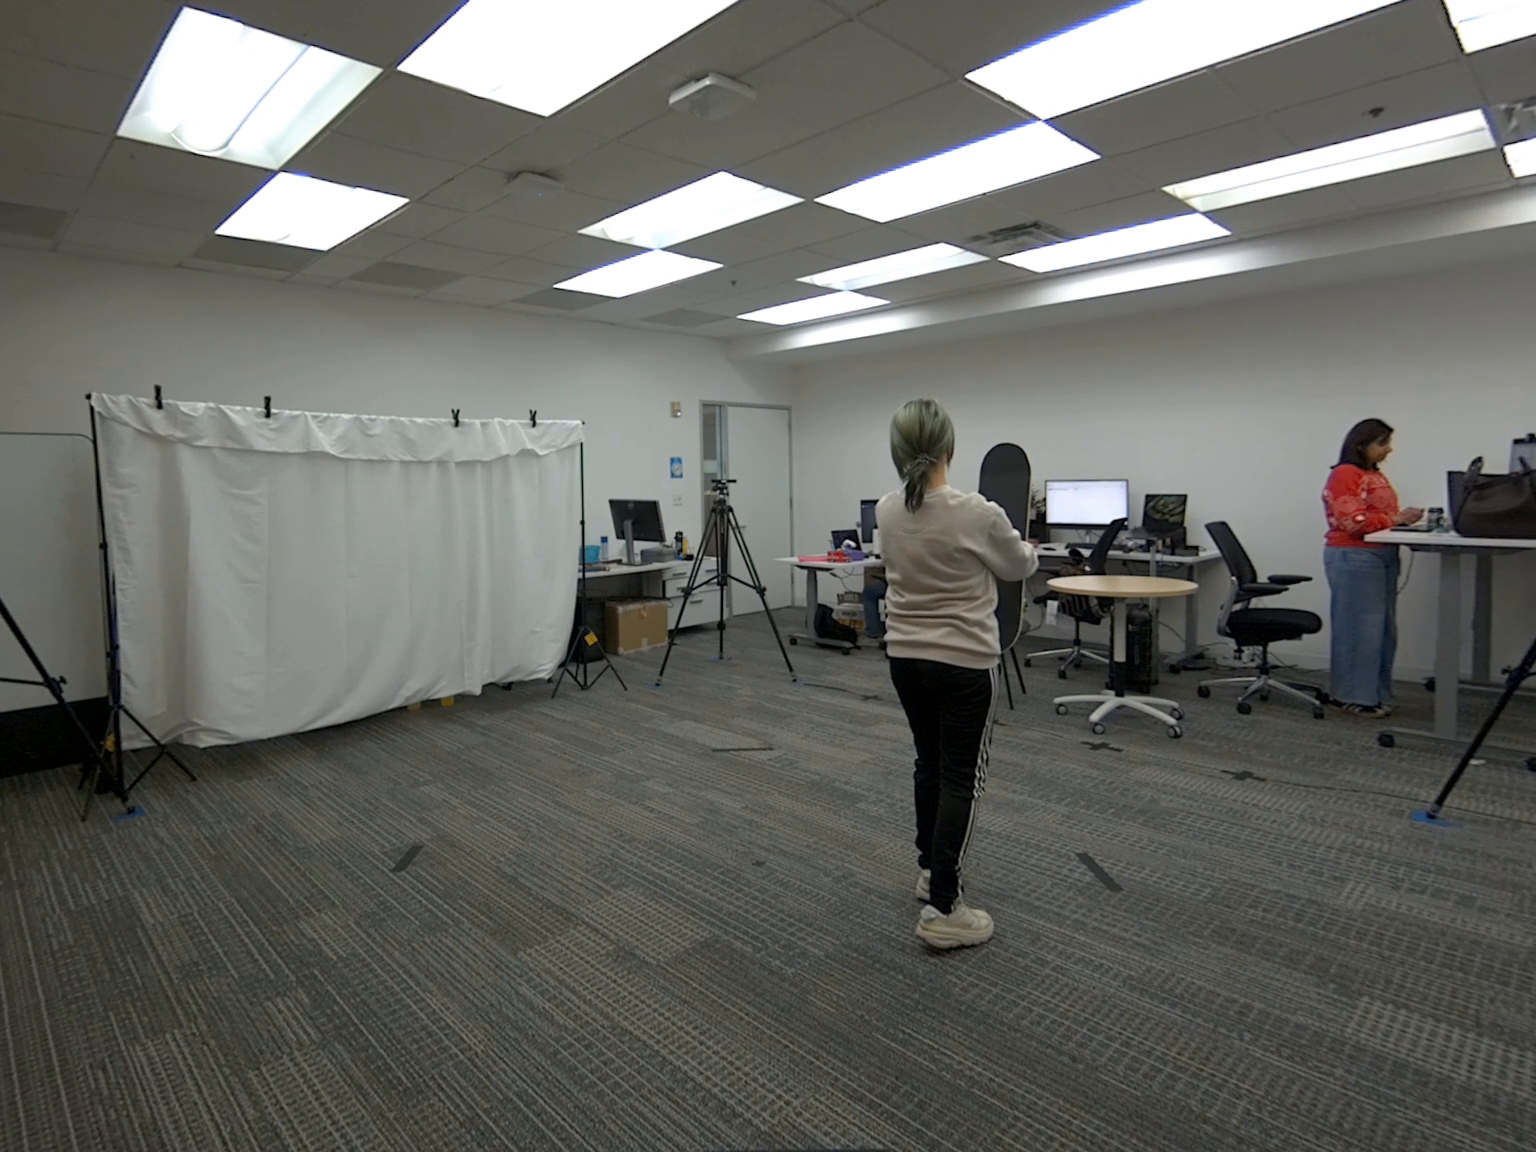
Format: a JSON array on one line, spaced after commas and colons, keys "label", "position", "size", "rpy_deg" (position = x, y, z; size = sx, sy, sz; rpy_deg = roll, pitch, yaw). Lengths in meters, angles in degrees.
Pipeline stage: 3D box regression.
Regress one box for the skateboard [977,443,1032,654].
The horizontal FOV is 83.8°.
[{"label": "skateboard", "position": [0.850, -0.096, 3.090], "size": [0.198, 0.794, 0.106], "rpy_deg": [-3, -18, 35]}]
